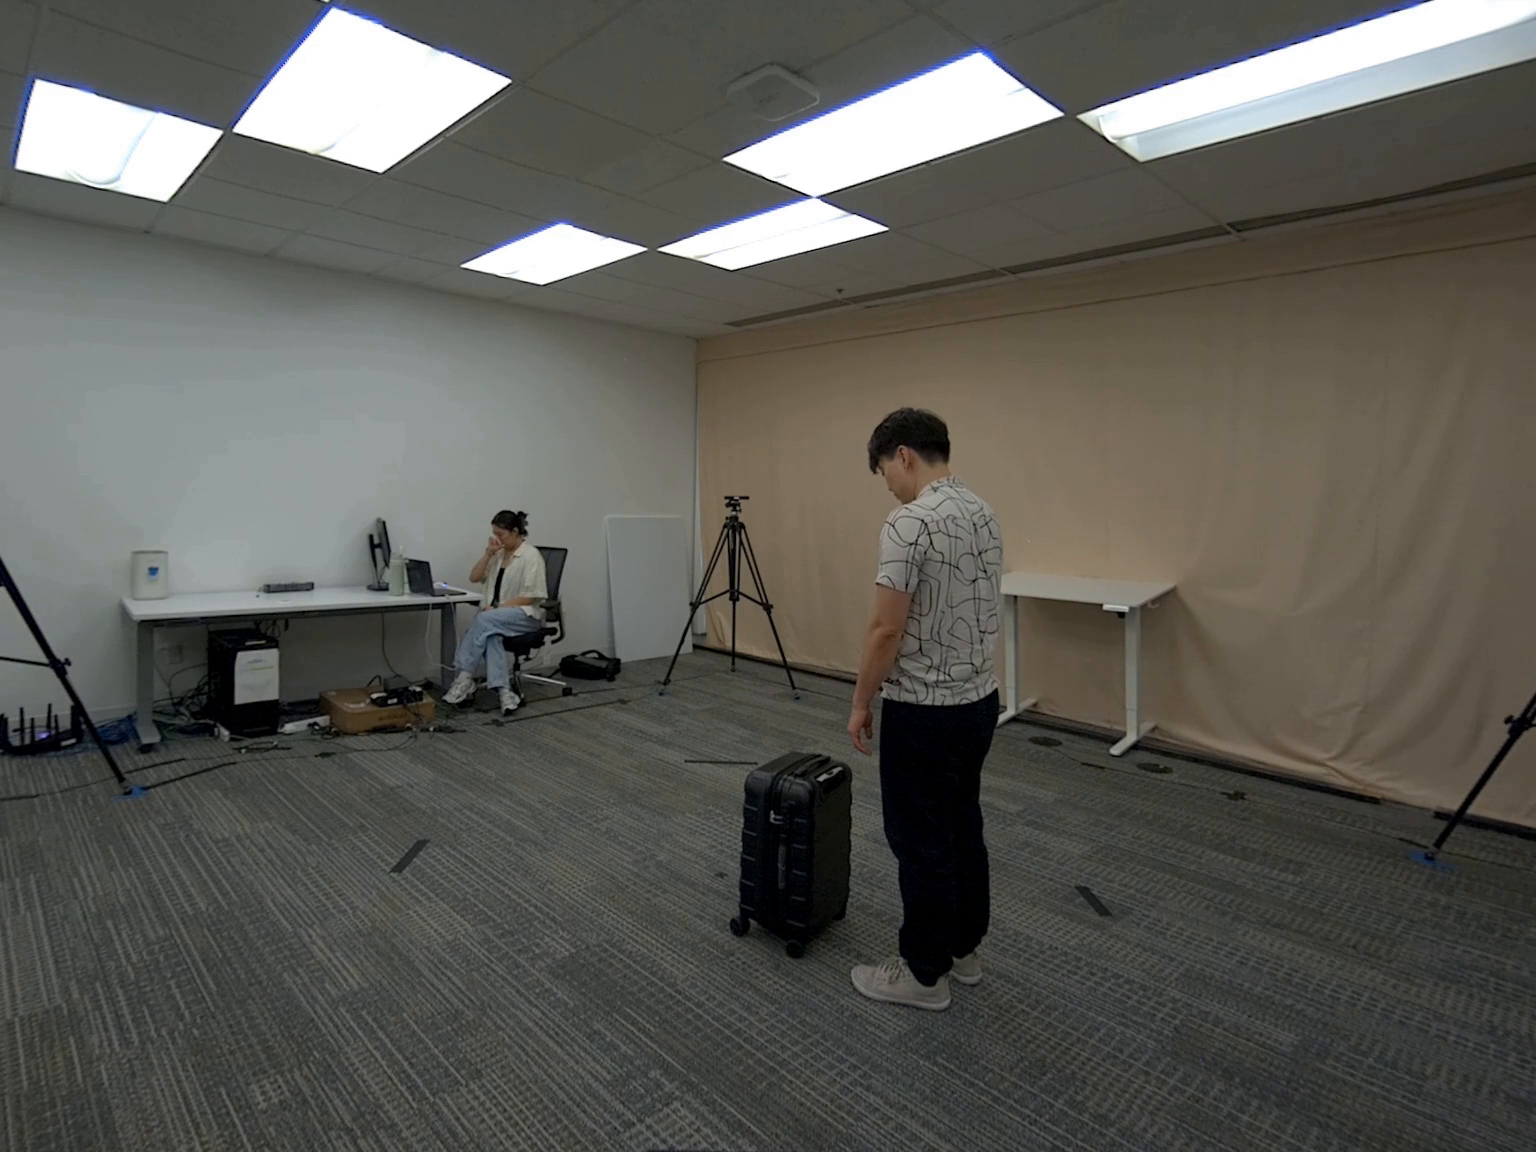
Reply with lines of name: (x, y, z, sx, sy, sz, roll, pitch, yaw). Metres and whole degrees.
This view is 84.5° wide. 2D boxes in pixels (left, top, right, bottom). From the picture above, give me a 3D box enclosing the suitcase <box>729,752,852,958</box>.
suitcase: (0.088, 0.869, 2.722, 0.254, 0.547, 0.368, 5, 5, 32)
